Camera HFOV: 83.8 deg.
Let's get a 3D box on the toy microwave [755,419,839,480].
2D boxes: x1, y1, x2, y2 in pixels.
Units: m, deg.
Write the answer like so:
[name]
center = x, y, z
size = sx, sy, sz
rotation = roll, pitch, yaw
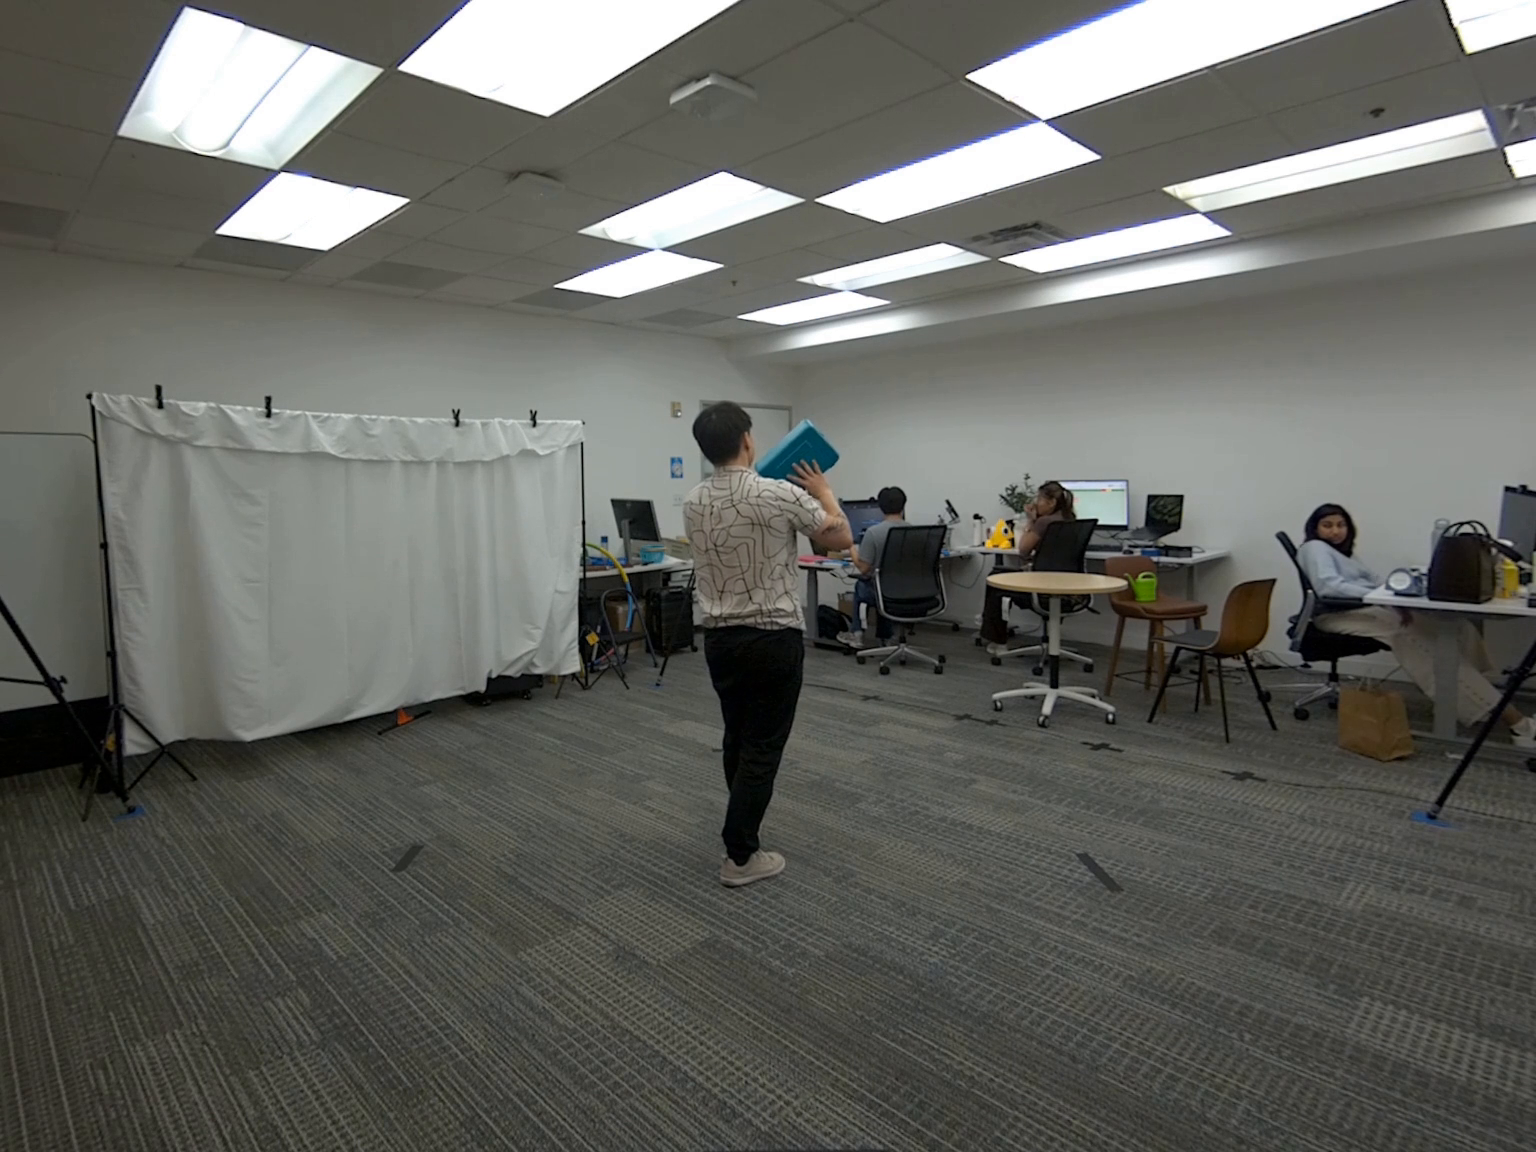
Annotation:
[toy microwave]
center = 0.111, -0.433, 3.220
size = 0.286, 0.180, 0.155
rotation = -42, 17, 10
